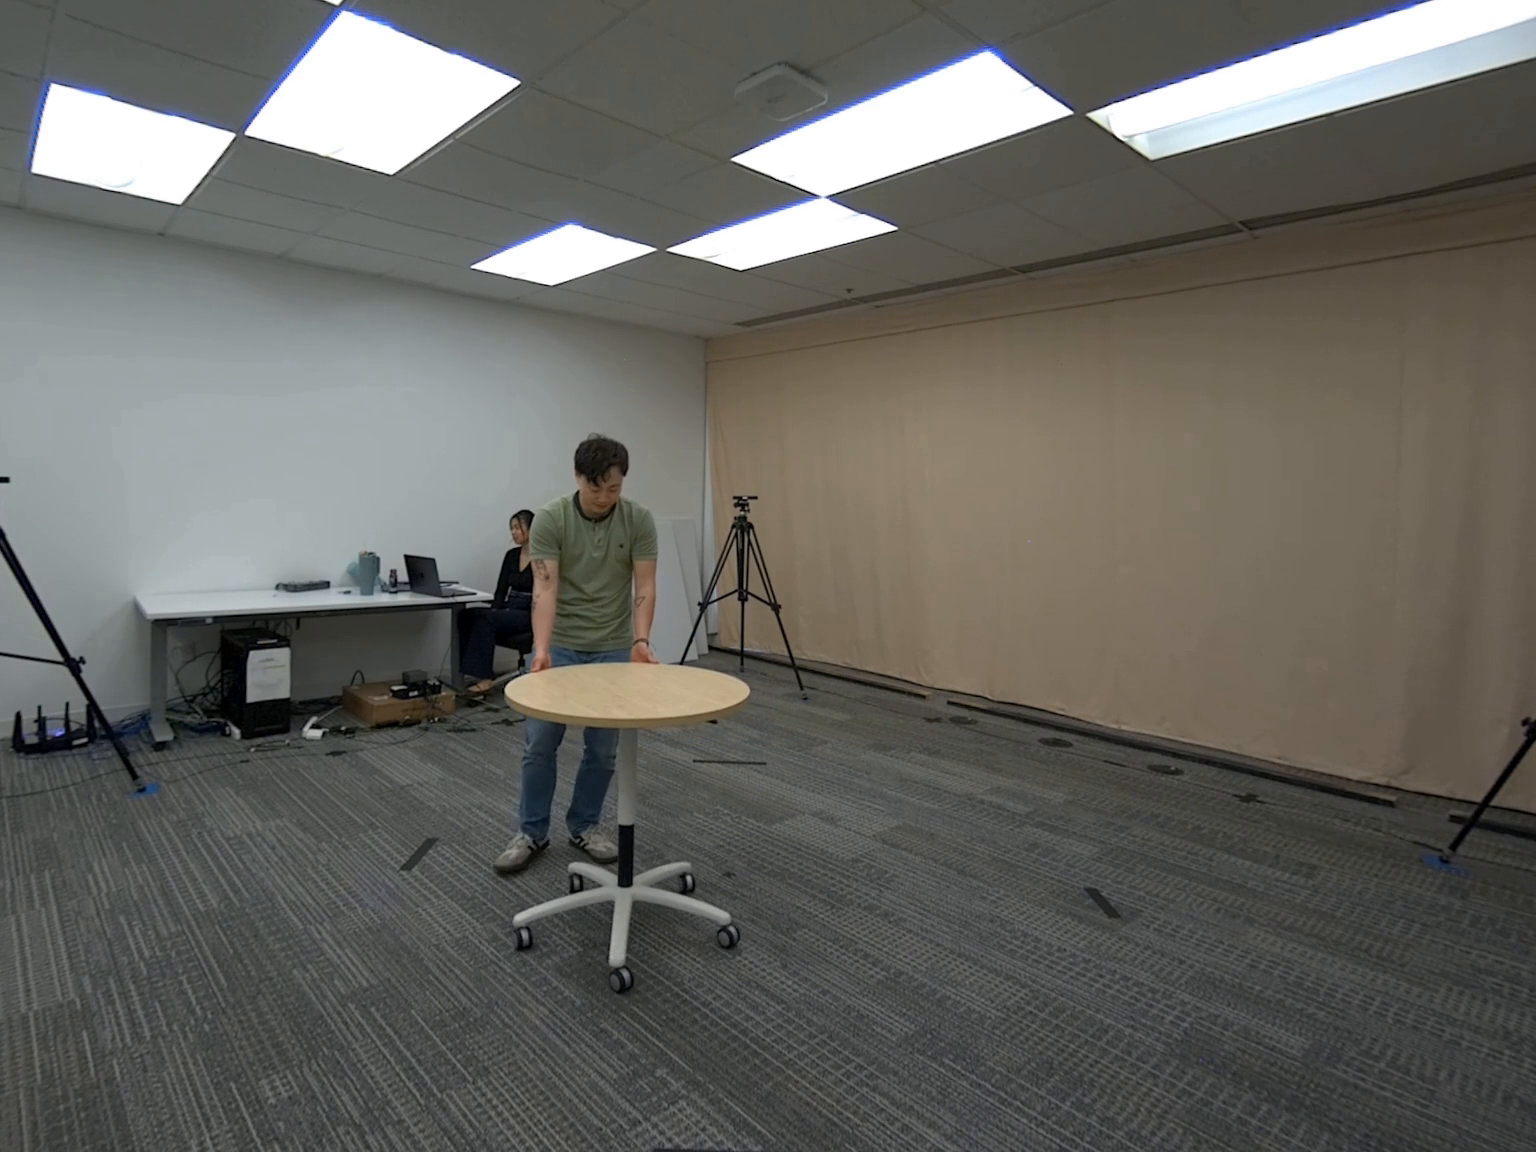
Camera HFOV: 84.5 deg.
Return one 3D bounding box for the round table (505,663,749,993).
[{"bbox_3d":[-0.455,0.748,2.677,0.763,0.792,0.766,2,4,-1],"label":"round table"}]
